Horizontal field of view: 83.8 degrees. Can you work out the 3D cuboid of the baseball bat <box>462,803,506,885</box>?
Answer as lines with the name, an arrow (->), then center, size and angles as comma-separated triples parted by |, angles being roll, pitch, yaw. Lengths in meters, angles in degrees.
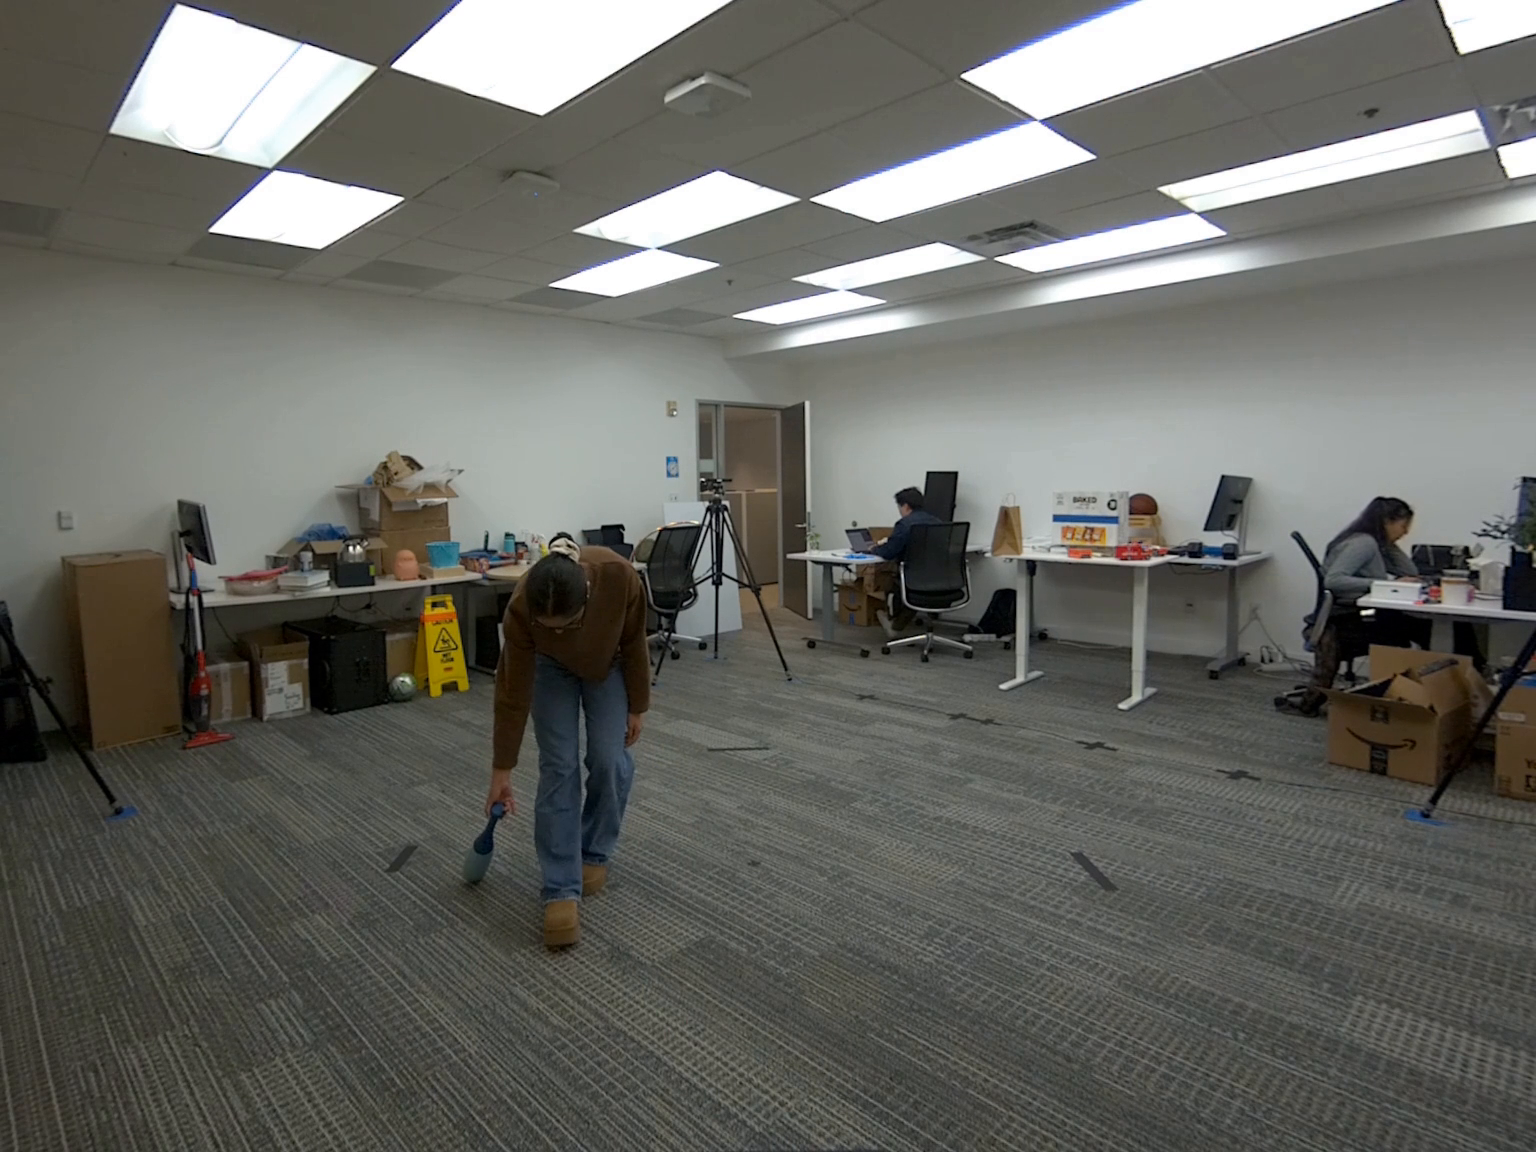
baseball bat -> -0.938, 0.895, 2.836 | 0.087, 0.092, 0.538 | -3, -35, -30
